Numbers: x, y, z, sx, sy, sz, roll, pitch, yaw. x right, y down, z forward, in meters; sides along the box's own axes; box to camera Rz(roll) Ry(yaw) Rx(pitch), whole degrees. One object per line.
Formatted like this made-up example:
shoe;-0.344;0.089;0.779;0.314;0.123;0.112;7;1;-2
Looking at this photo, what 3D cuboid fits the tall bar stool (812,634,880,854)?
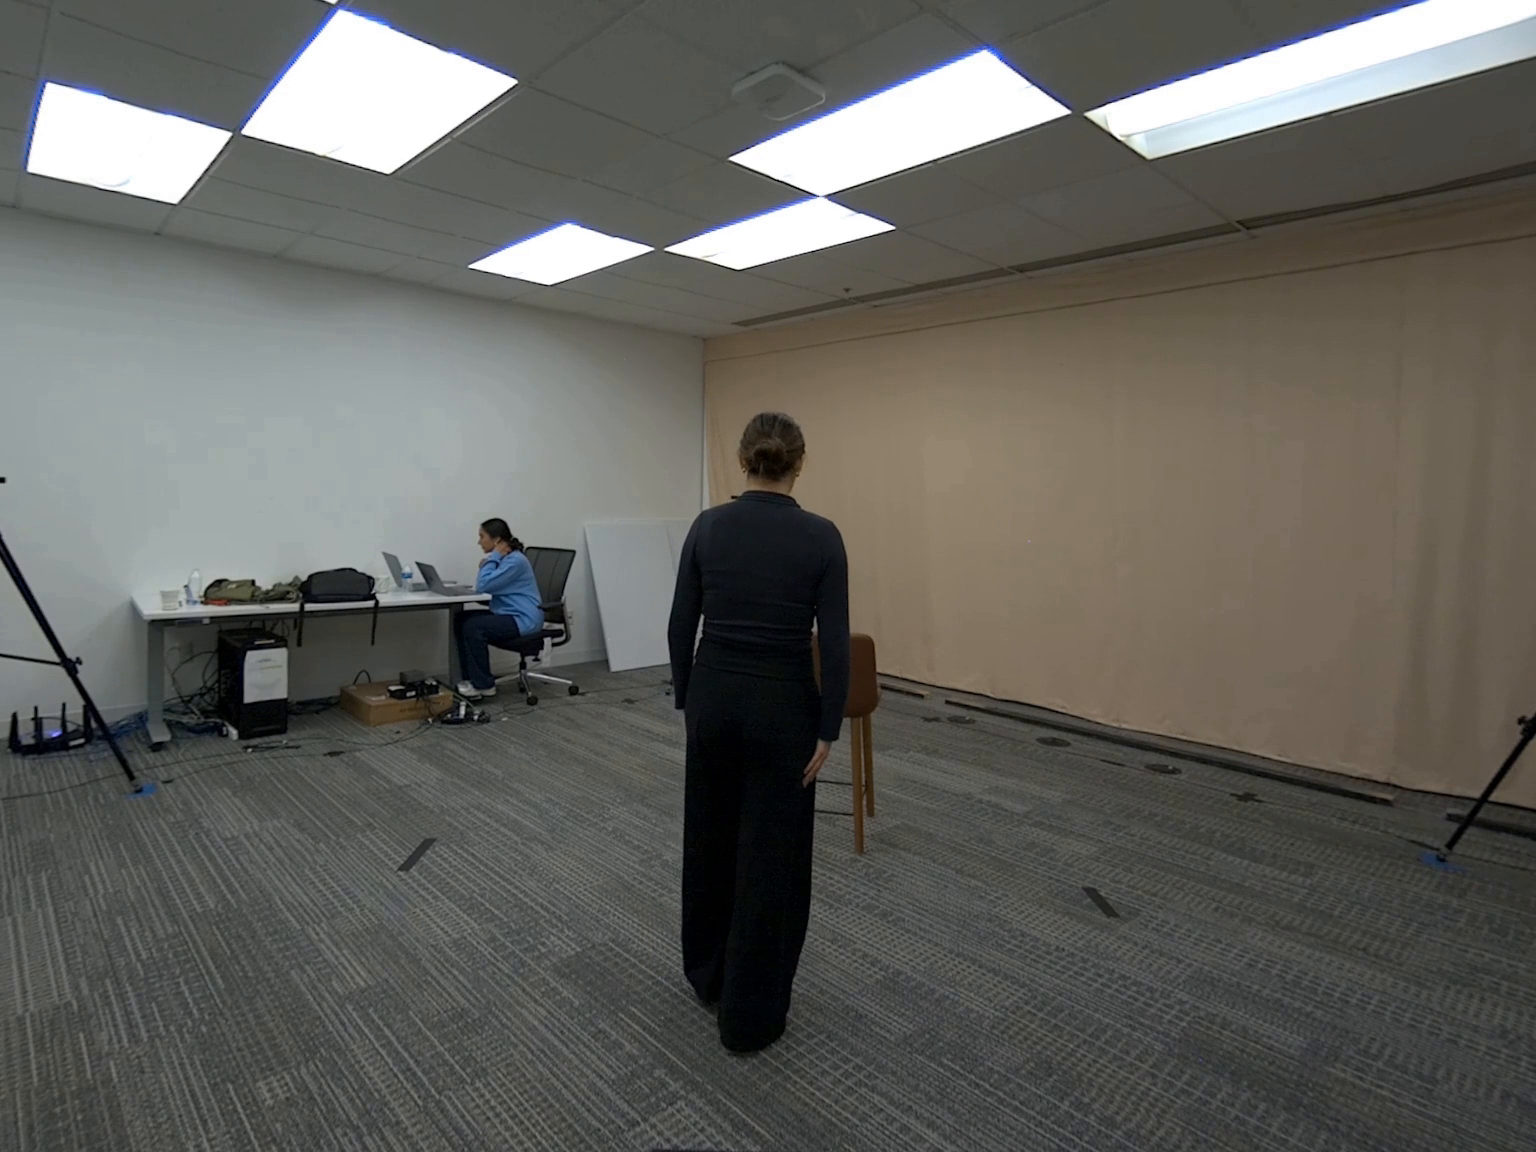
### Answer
tall bar stool;0.237;0.639;3.538;0.461;0.887;0.464;2;5;13
